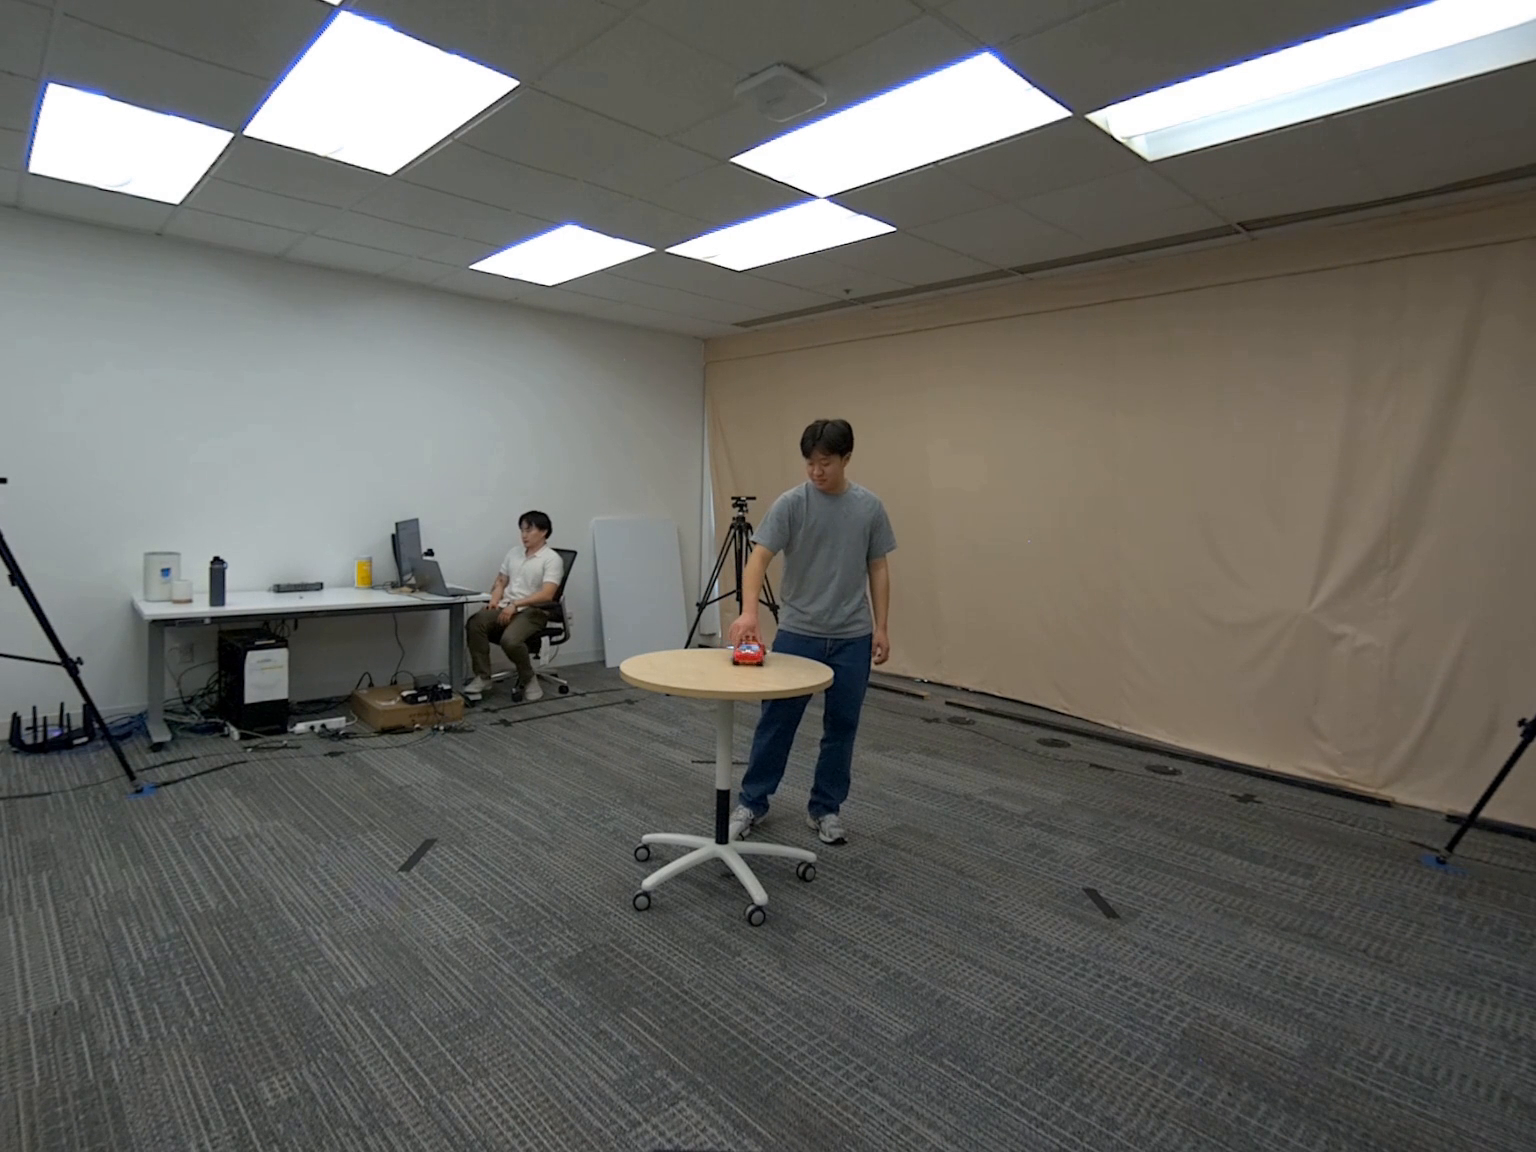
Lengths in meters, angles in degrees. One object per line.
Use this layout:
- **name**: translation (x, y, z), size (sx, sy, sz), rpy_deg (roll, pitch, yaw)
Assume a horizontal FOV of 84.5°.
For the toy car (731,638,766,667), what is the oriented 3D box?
- **toy car**: translation (-0.077, 0.286, 3.172), size (0.131, 0.082, 0.256), rpy_deg (1, 15, 2)
